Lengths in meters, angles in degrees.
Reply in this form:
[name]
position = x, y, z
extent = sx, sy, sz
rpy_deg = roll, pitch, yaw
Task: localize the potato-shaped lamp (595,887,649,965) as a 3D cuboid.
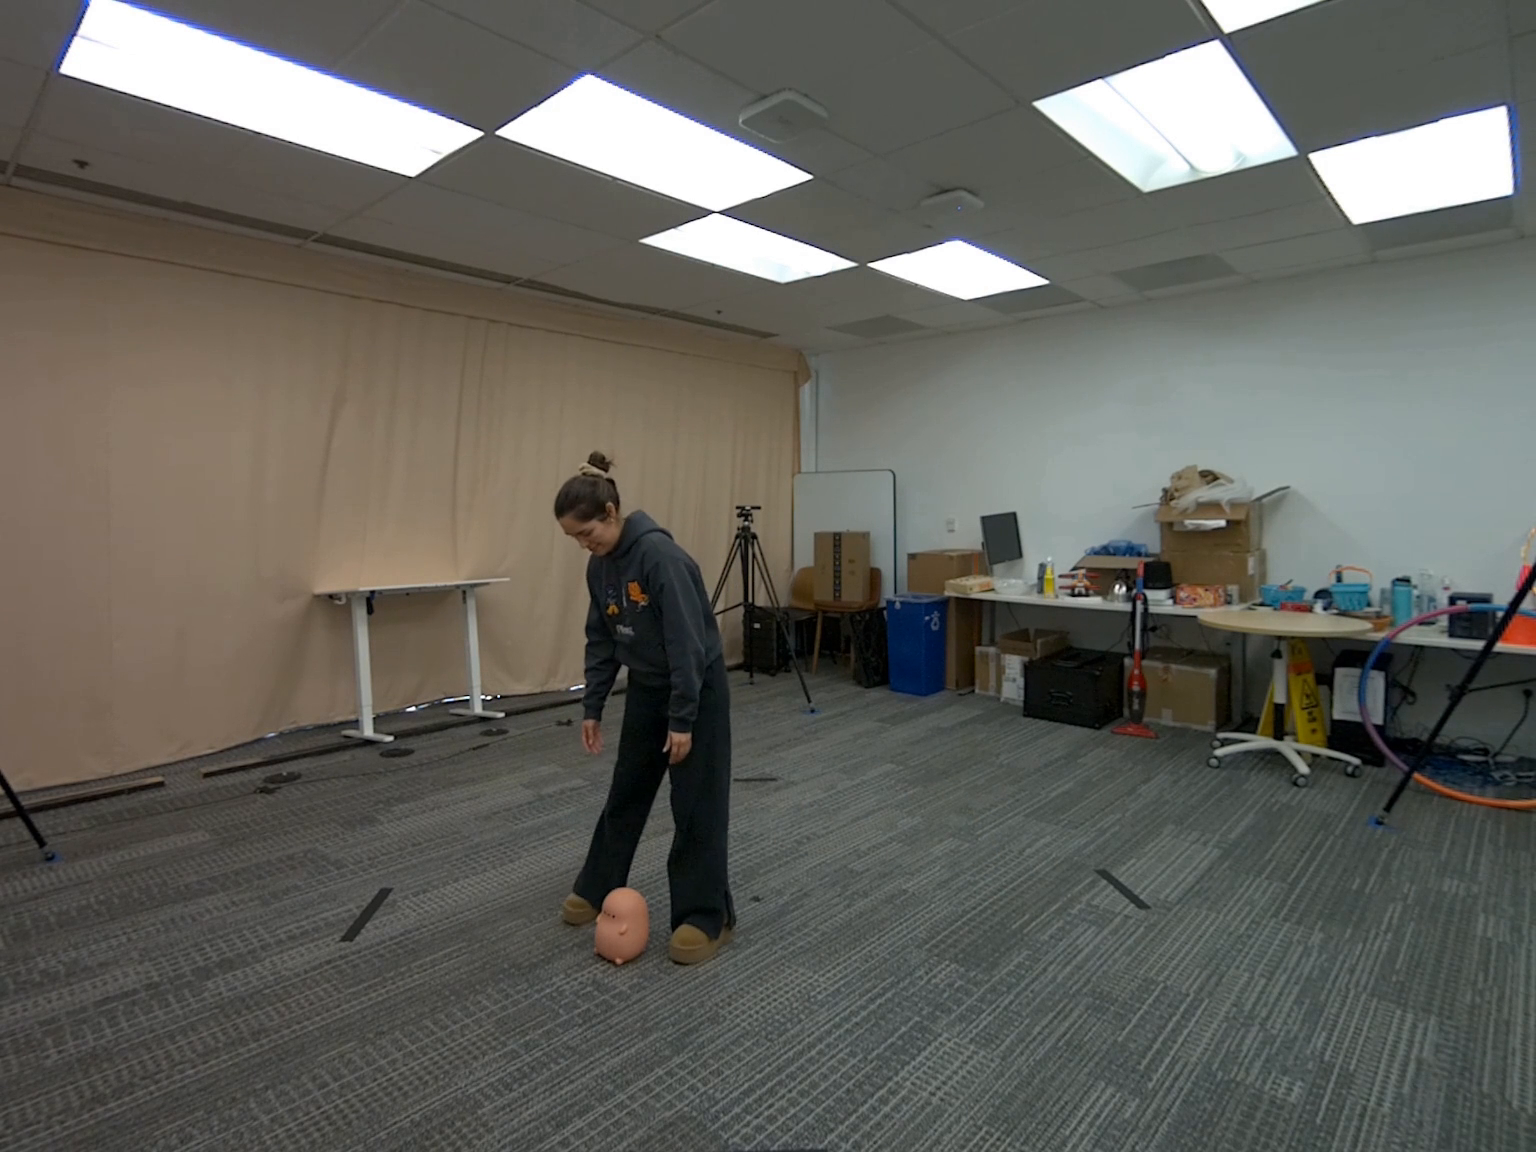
[potato-shaped lamp]
position = -0.434, 1.083, 2.627
extent = 0.170, 0.198, 0.166
rpy_deg = 2, 4, 42
